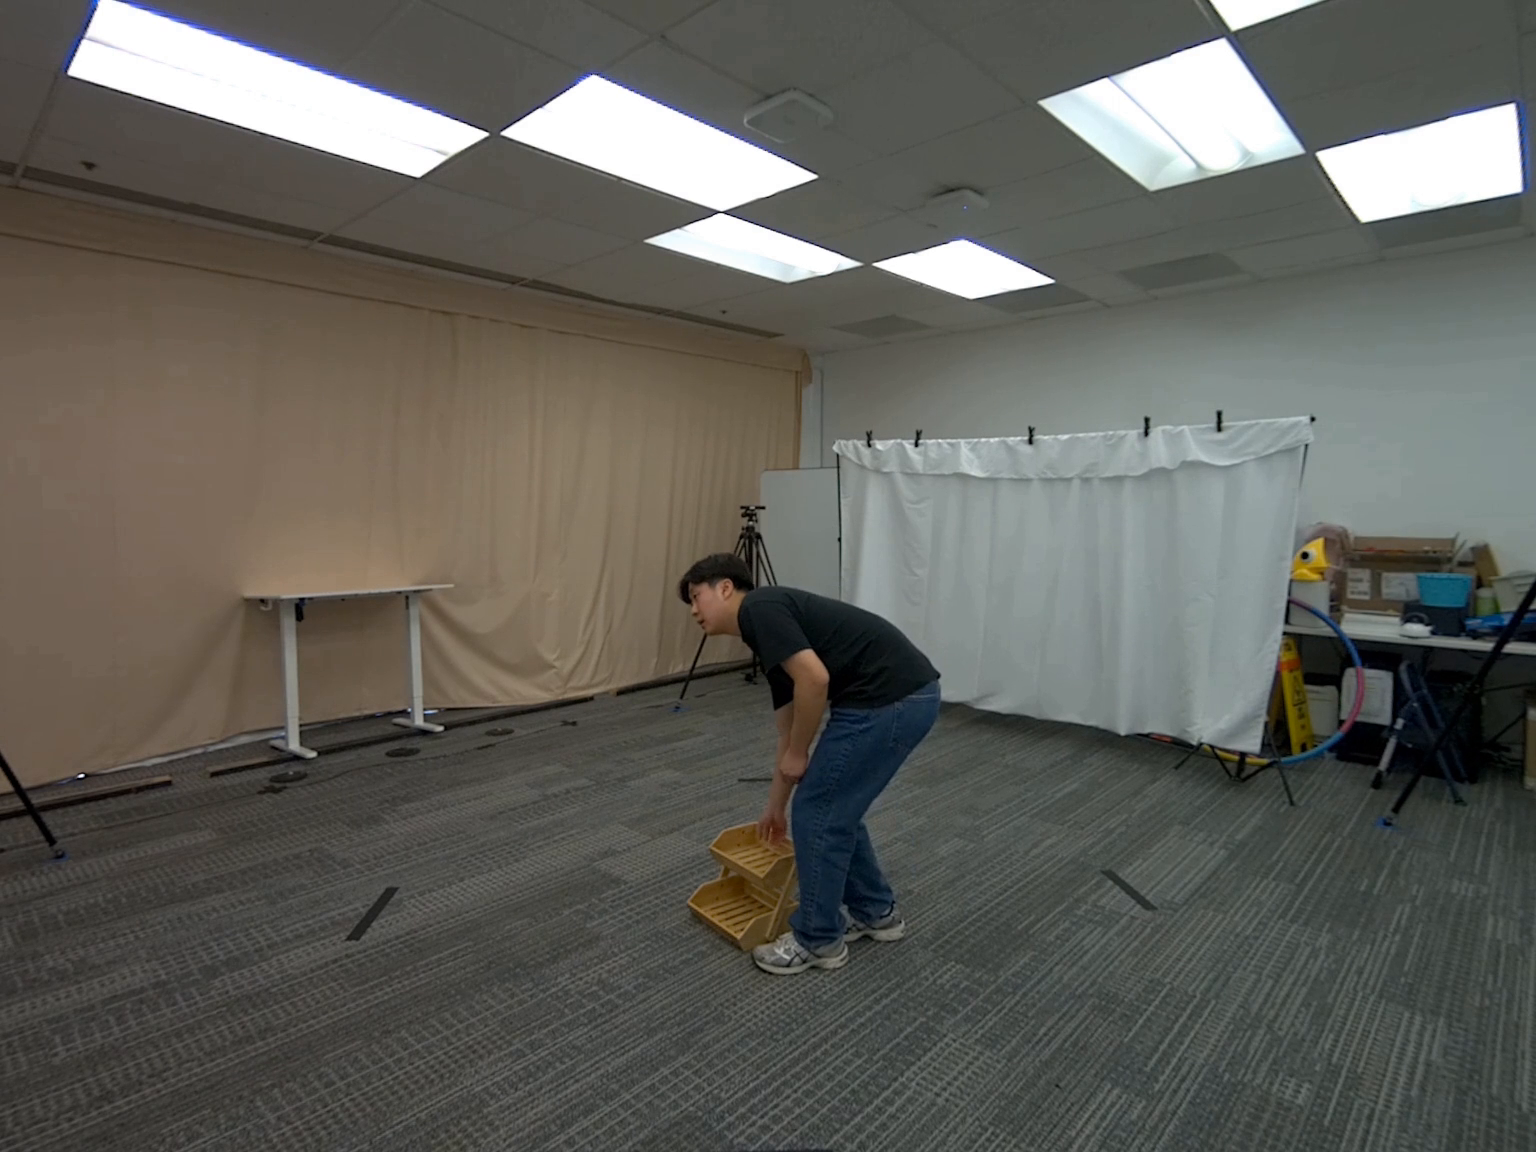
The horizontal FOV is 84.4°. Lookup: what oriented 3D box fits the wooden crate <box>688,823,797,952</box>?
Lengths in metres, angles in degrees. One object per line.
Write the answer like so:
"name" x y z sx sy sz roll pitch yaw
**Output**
"wooden crate" -0.065 1.024 2.817 0.293 0.273 0.335 -2 4 -38
